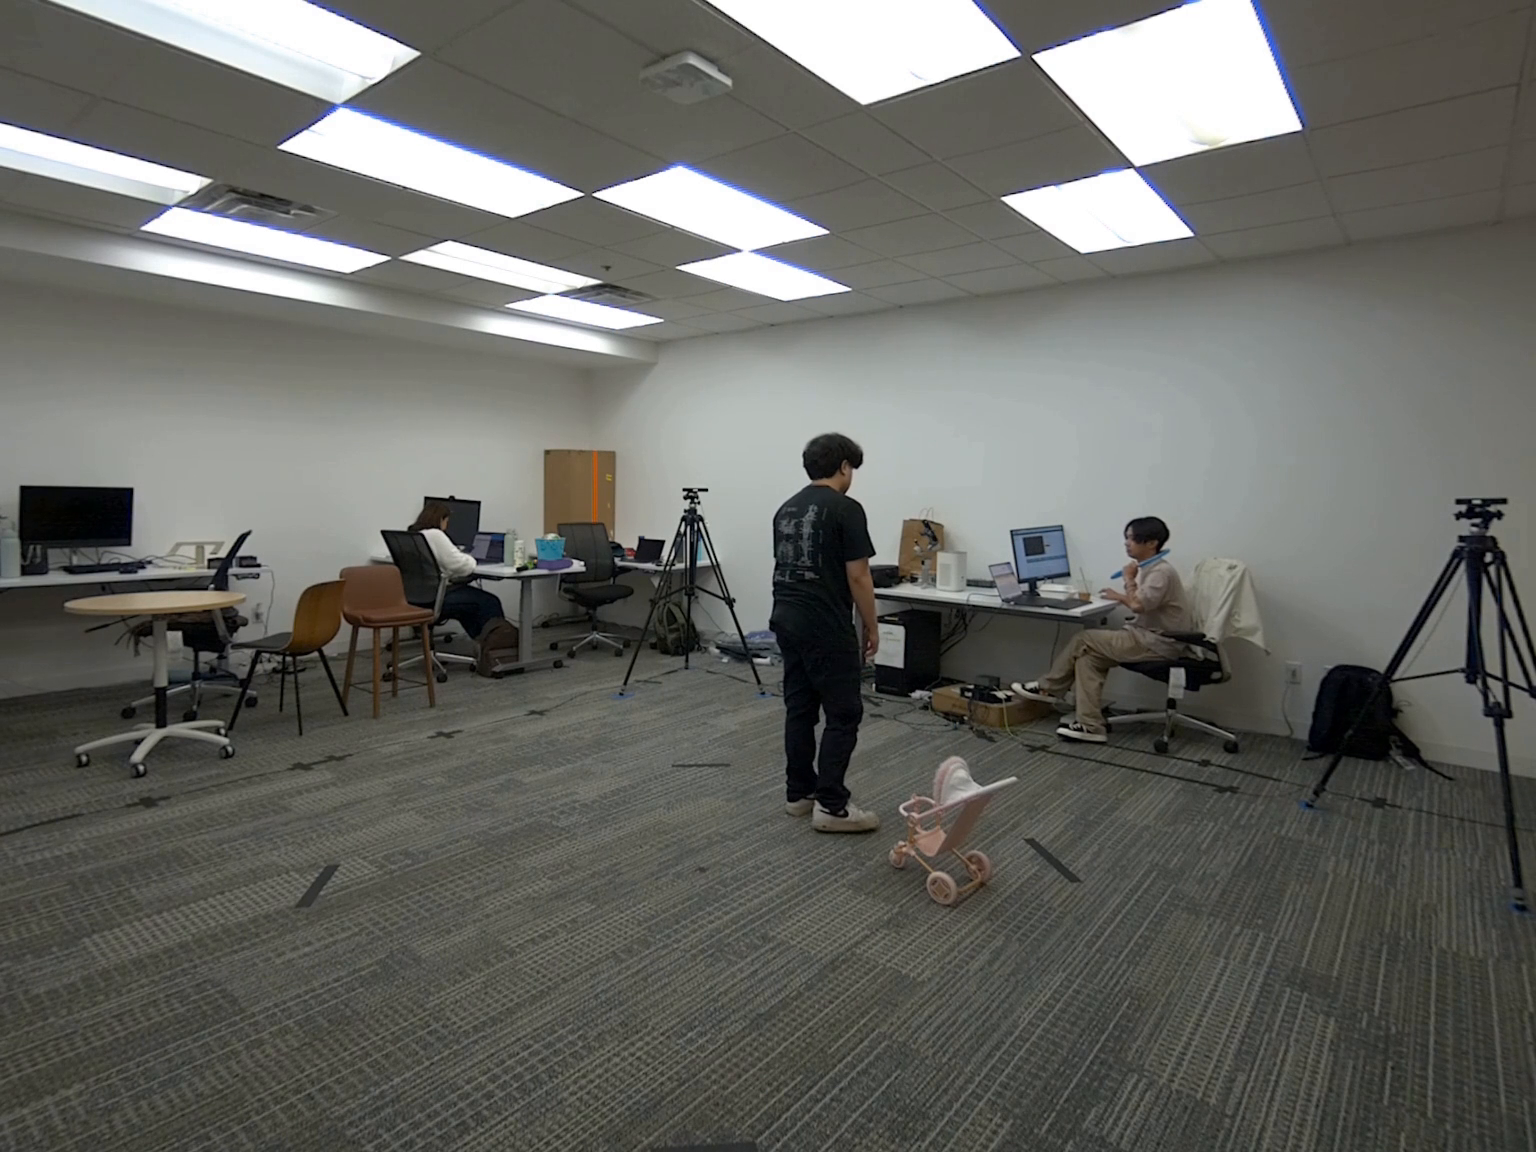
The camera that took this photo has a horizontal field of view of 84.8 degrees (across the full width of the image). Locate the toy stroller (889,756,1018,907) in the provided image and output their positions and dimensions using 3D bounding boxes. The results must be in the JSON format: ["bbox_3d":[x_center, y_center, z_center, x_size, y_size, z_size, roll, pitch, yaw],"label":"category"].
[{"bbox_3d":[0.625,0.877,3.019,0.273,0.529,0.355,-1,19,-43],"label":"toy stroller"}]
